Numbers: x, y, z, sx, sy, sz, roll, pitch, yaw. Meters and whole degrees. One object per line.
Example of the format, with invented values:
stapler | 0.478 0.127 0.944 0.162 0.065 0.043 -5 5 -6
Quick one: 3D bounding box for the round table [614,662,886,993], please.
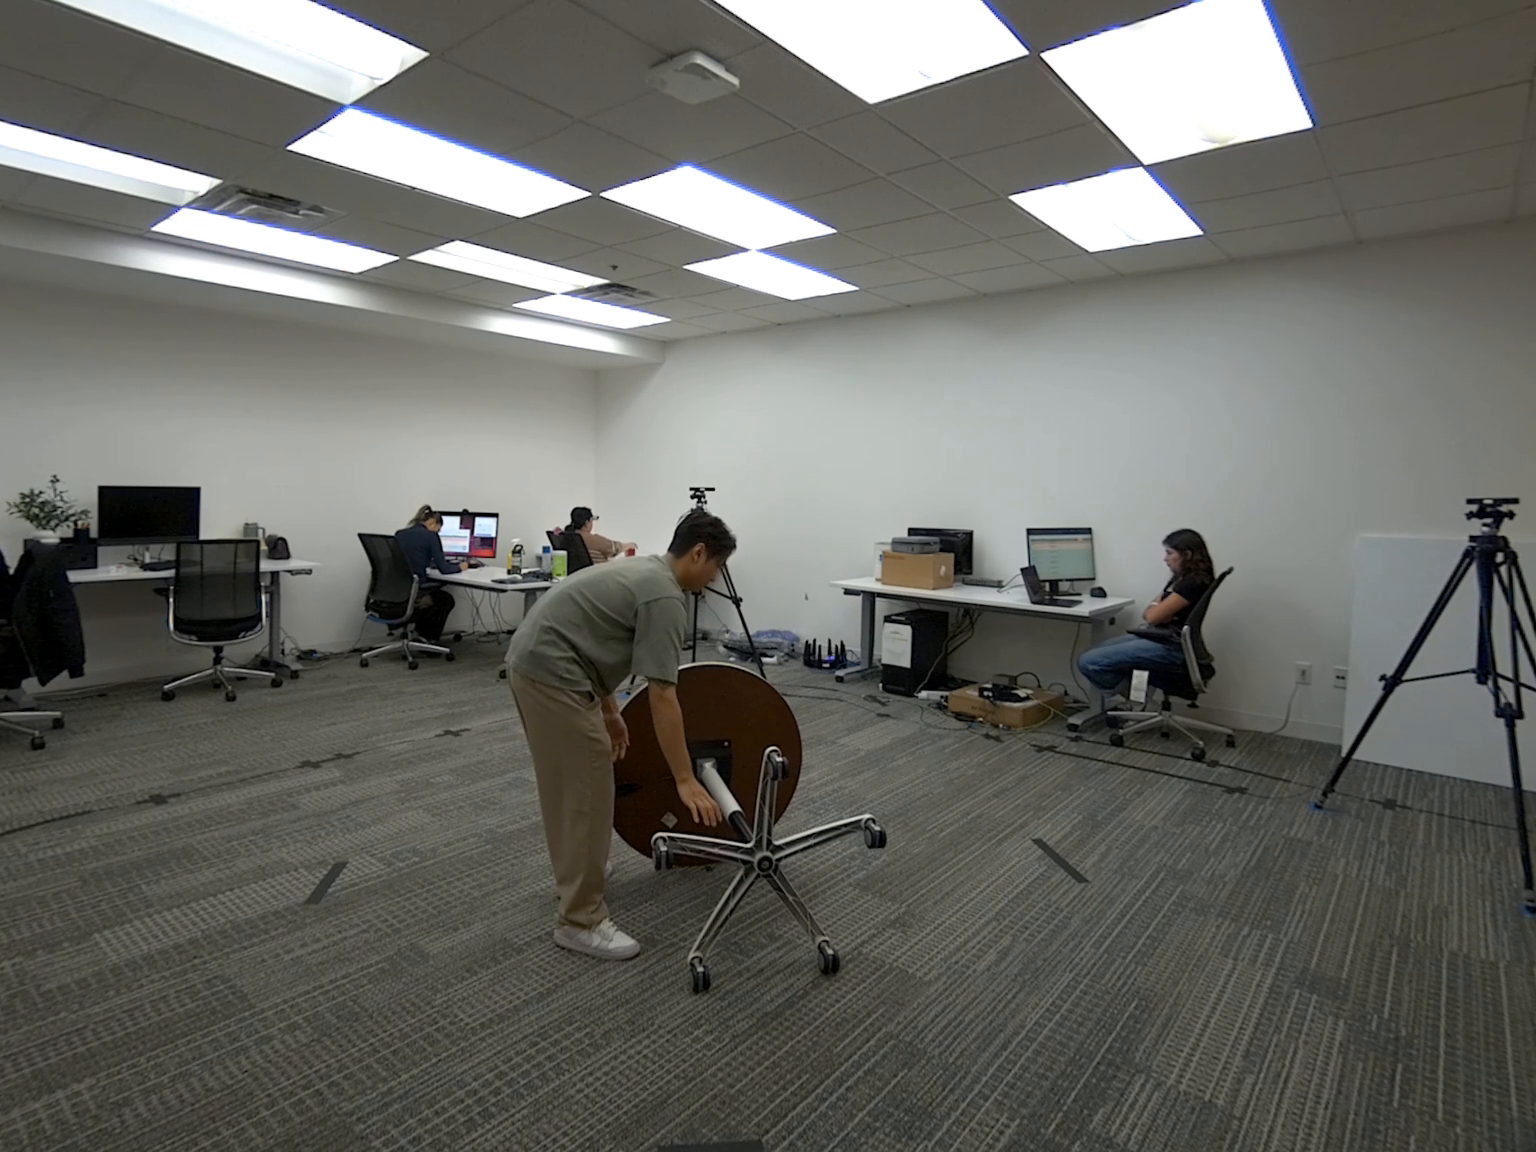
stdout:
round table | -0.126 0.767 2.722 0.771 0.778 0.808 0 10 -18
